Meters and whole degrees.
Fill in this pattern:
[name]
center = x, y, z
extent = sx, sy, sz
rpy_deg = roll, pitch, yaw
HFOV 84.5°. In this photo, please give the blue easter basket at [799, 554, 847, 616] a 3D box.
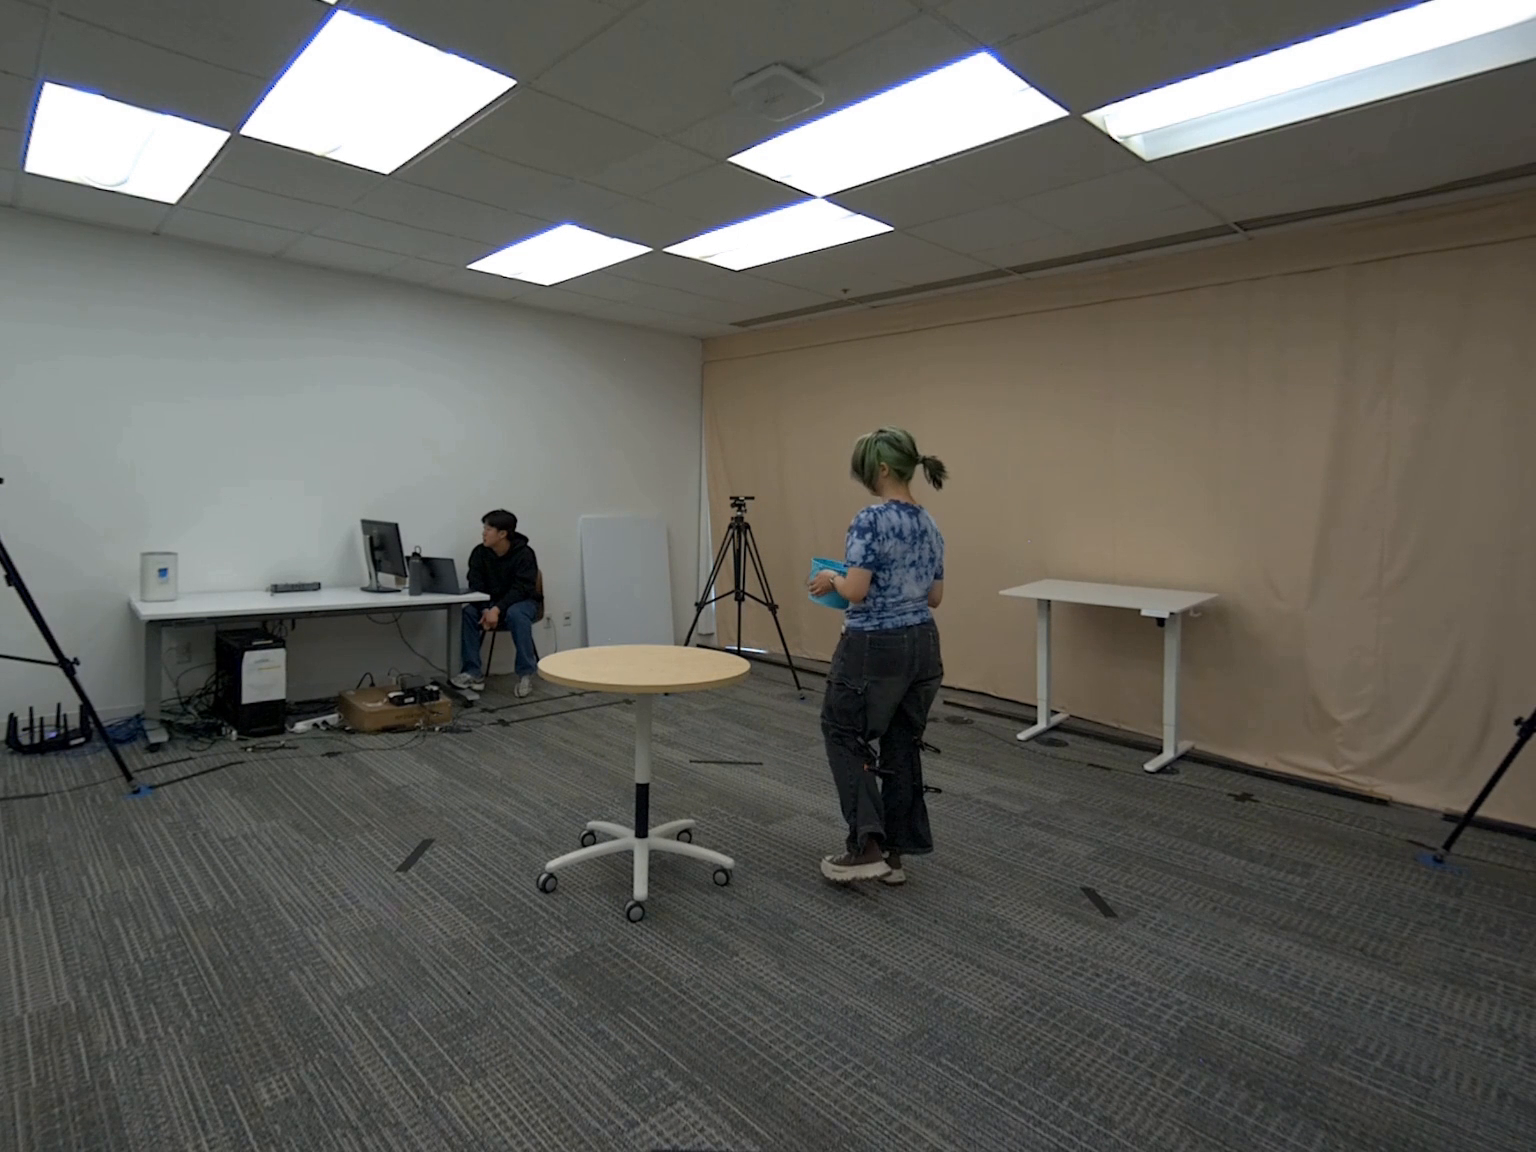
[blue easter basket]
center = 0.271, 0.040, 3.319
extent = 0.243, 0.155, 0.246
rpy_deg = 14, 11, -4
